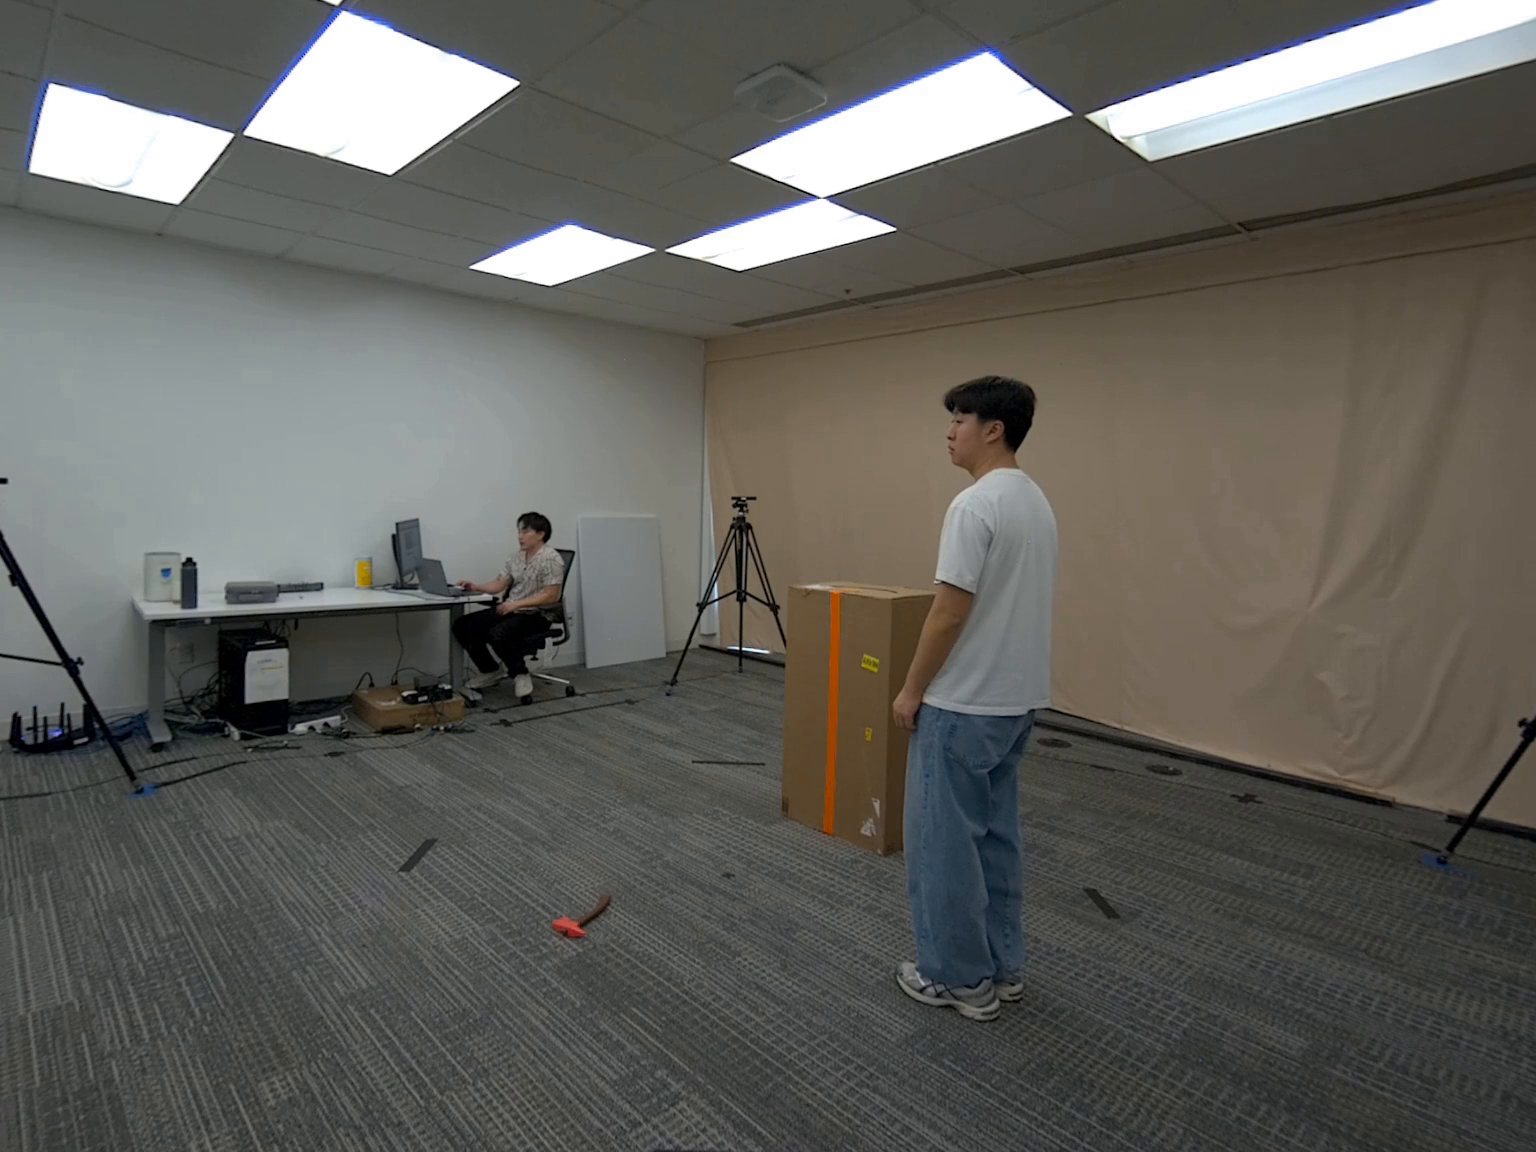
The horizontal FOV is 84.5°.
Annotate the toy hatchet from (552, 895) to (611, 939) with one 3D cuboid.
[{"bbox_3d":[-0.624,1.116,2.771,0.132,0.029,0.268,1,3,8],"label":"toy hatchet"}]
